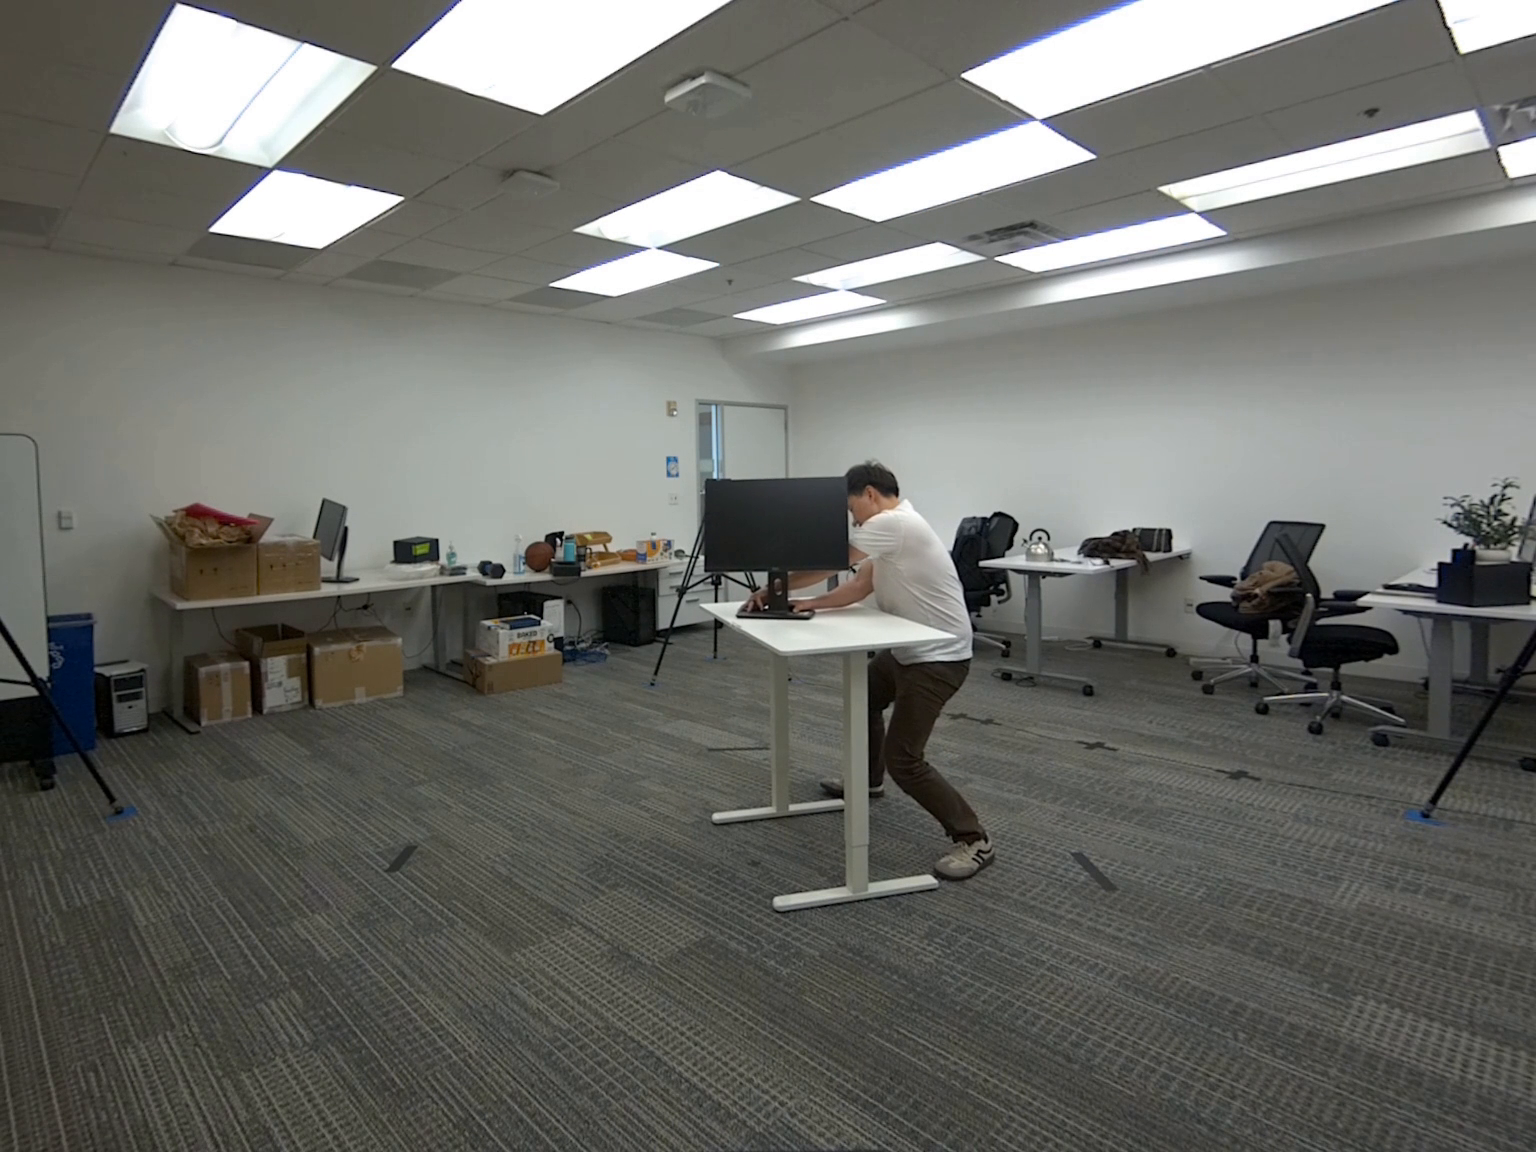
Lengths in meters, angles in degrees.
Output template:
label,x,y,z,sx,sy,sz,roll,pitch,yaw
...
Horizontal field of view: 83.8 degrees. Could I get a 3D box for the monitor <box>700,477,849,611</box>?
label,x,y,z,sx,sy,sz,roll,pitch,yaw
monitor,0.024,-0.102,3.205,0.543,0.522,0.186,-1,1,7
